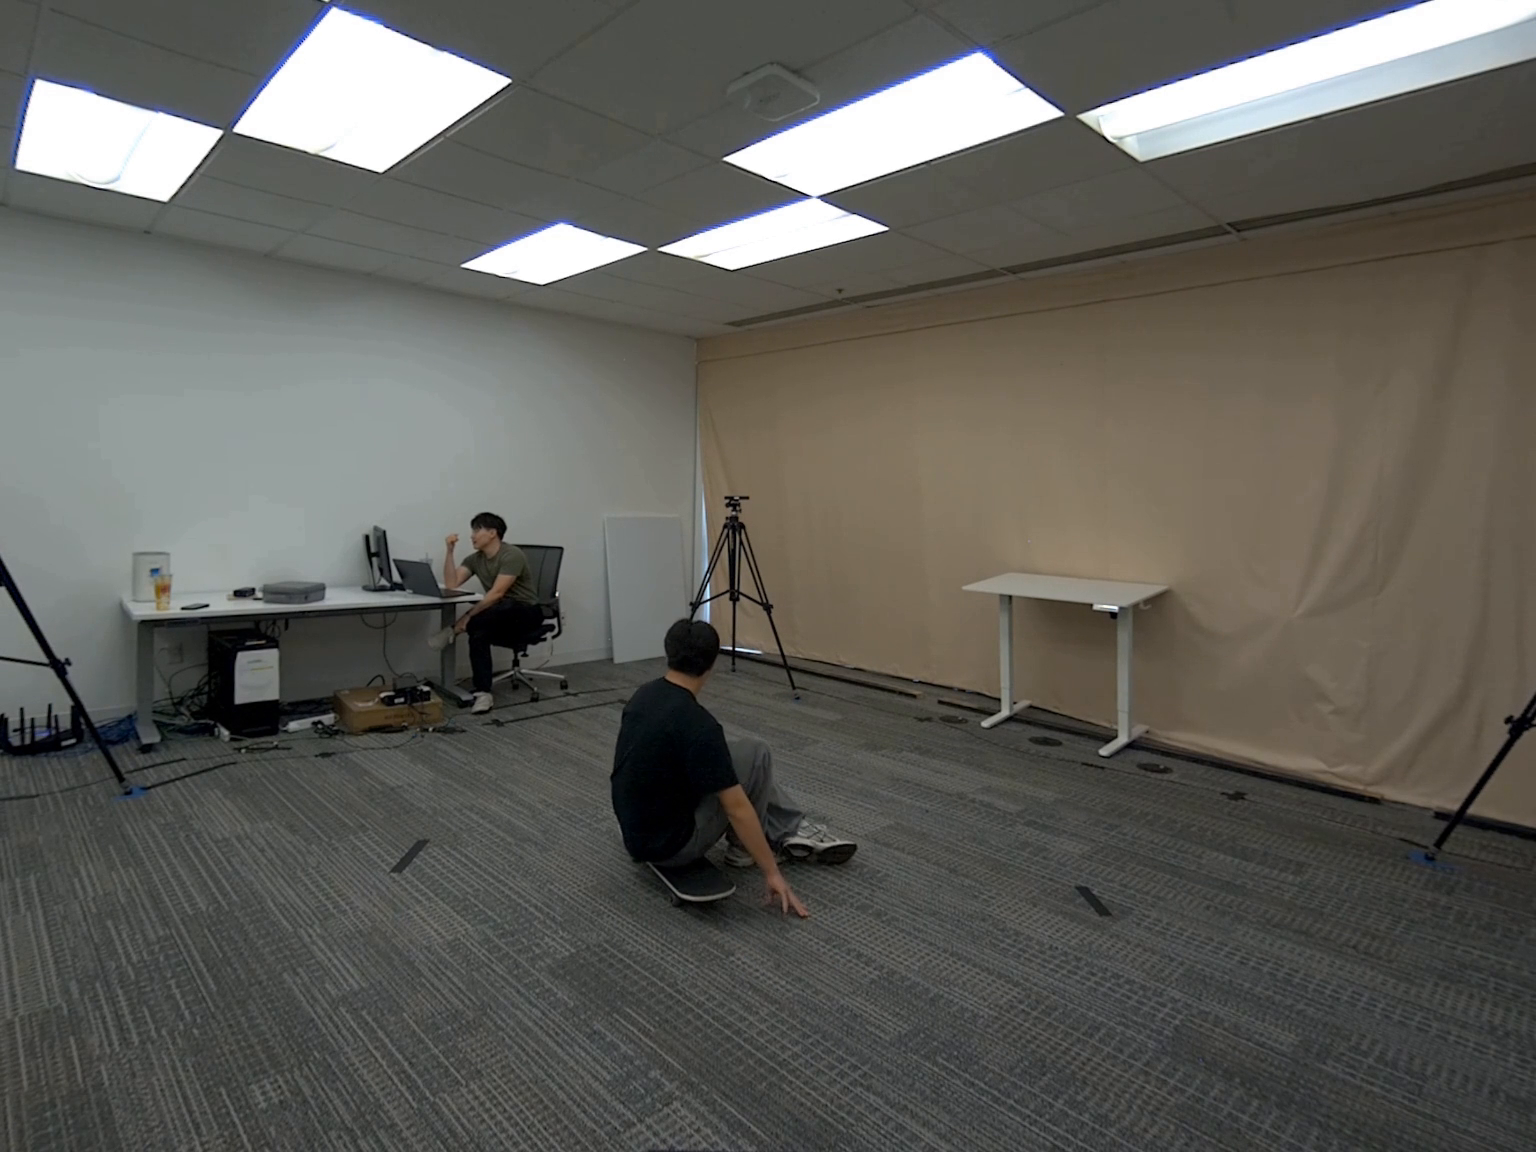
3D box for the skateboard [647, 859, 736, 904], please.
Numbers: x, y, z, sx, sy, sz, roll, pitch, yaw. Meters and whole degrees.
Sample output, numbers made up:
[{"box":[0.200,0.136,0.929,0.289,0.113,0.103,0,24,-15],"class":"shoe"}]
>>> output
[{"box":[-0.352,1.048,3.076,0.190,0.110,0.803,-8,9,-28],"class":"skateboard"}]
